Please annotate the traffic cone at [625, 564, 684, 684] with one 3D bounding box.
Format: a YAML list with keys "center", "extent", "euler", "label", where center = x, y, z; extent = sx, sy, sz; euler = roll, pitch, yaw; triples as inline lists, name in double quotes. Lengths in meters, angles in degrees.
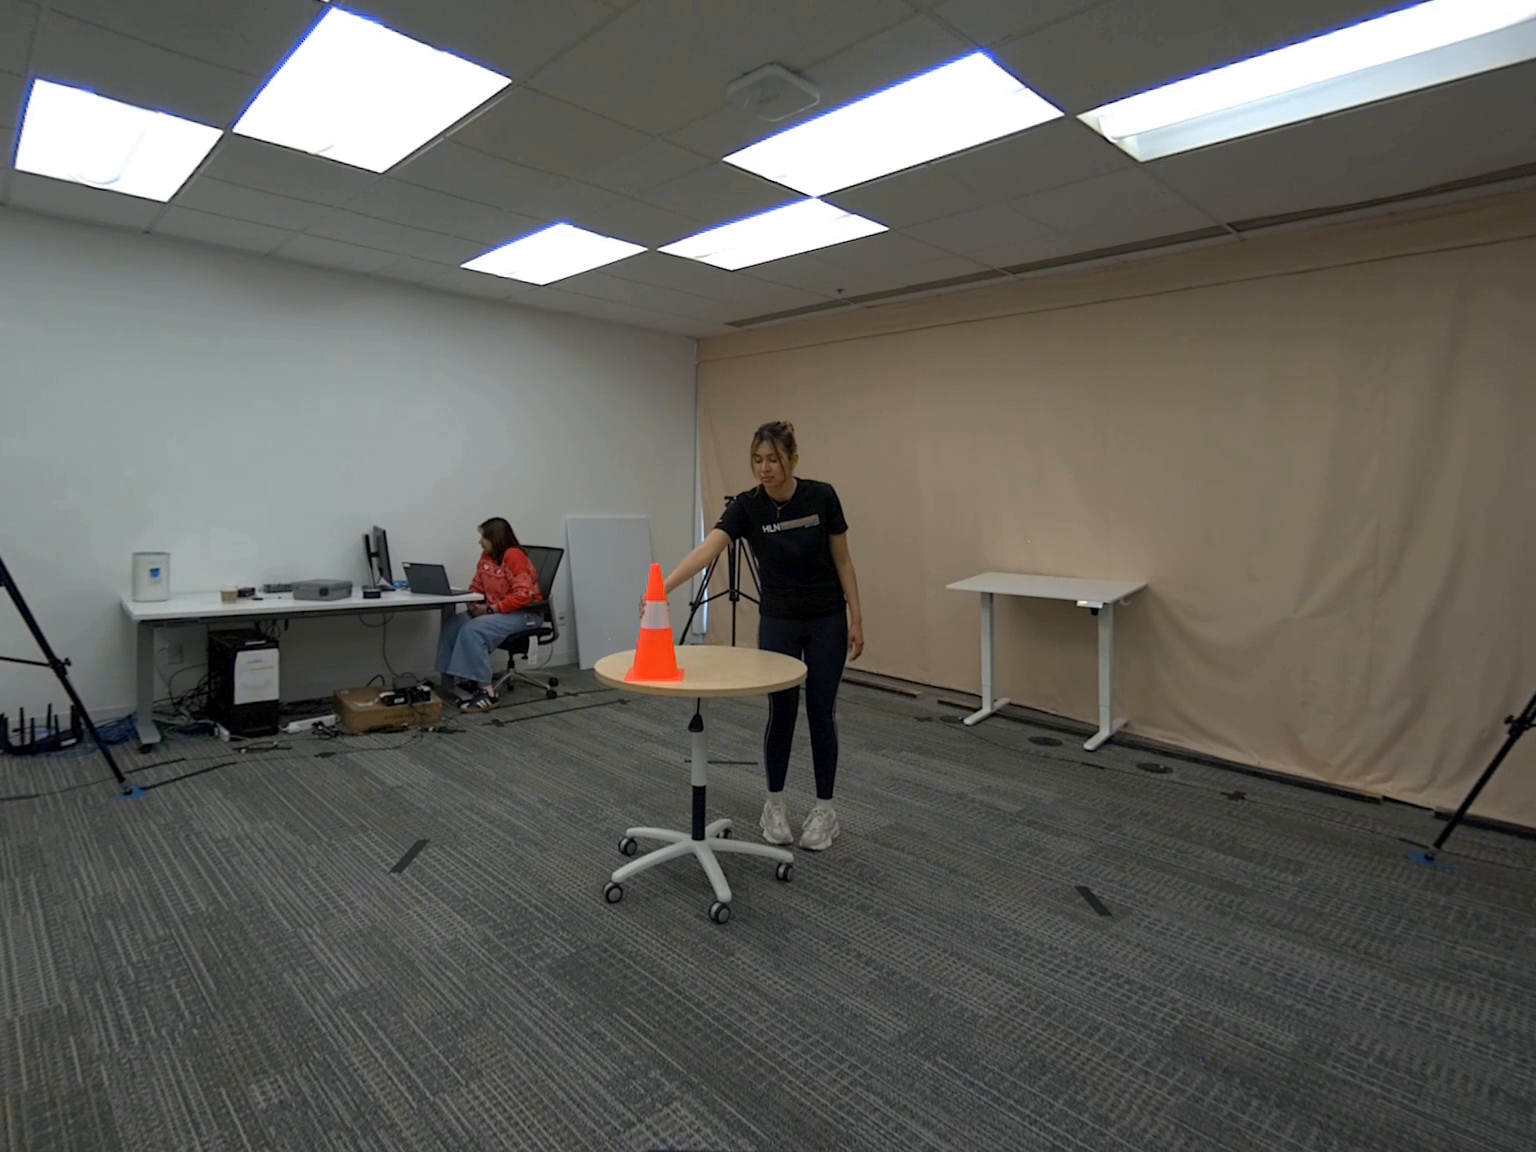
- center: [-0.390, 0.155, 2.852]
  extent: [0.202, 0.383, 0.206]
  euler: [1, 3, -6]
  label: "traffic cone"
